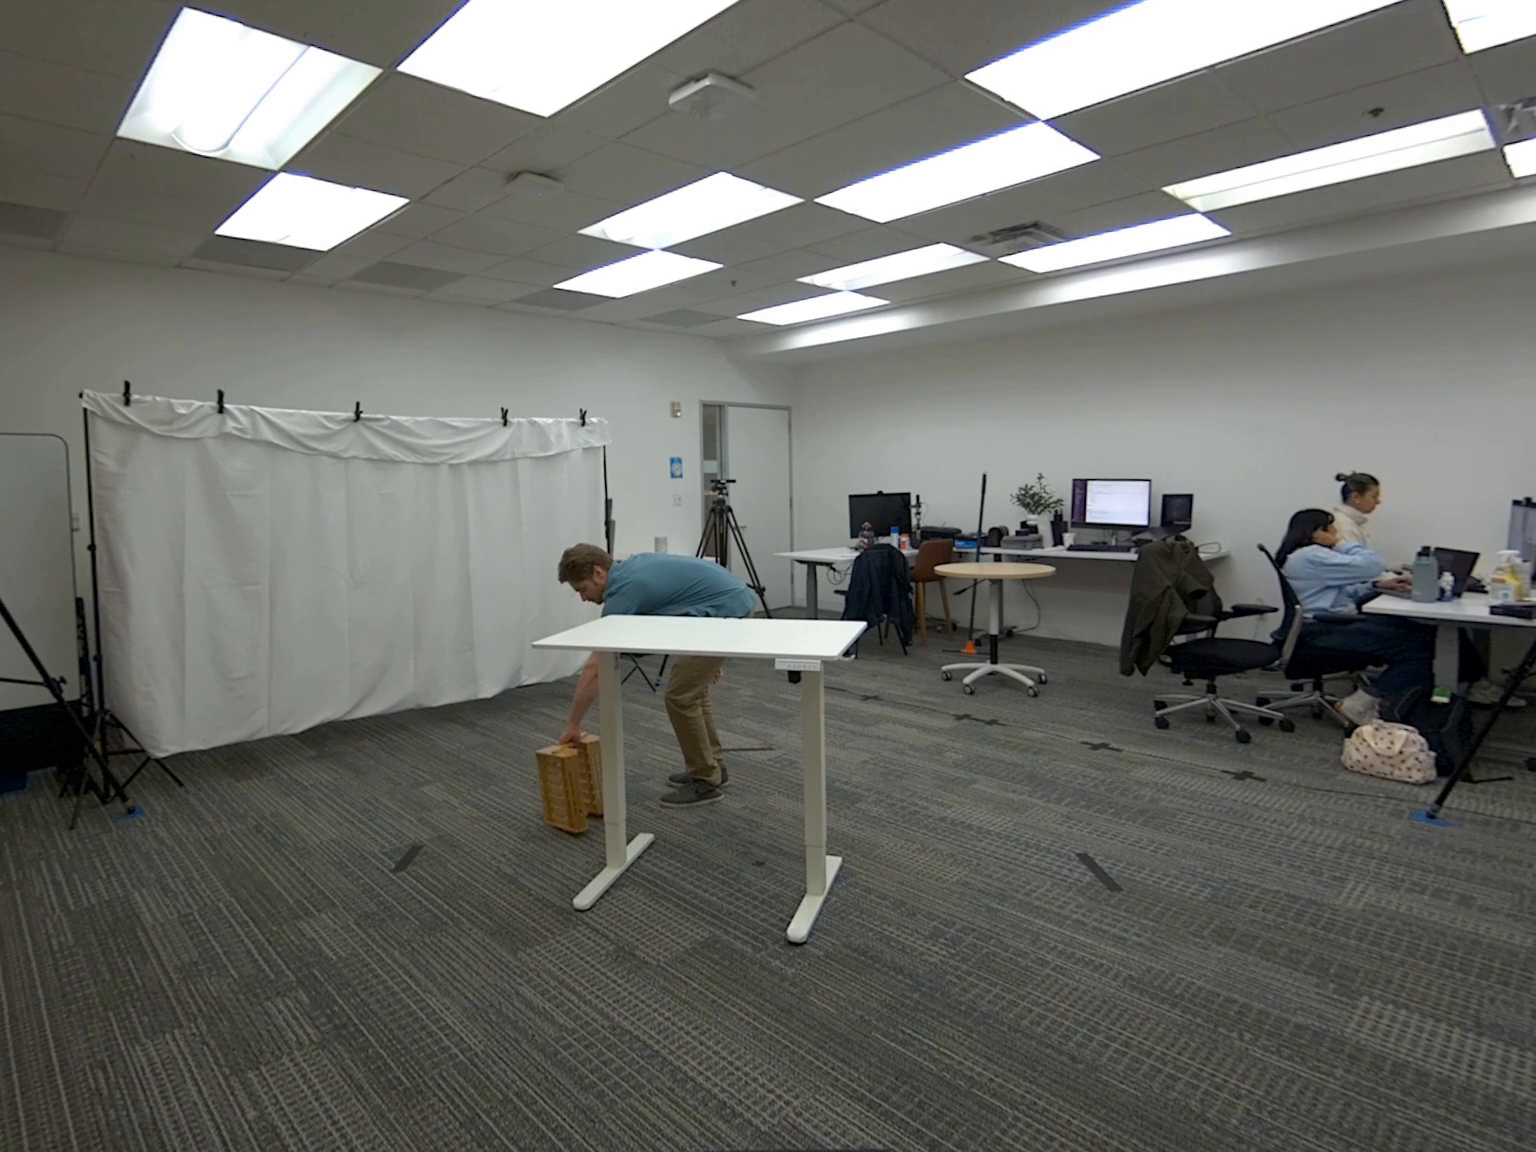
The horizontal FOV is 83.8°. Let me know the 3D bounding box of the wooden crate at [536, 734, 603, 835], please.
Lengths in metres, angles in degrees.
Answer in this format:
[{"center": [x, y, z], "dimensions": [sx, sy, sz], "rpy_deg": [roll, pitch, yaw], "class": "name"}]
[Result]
[{"center": [-0.780, 0.846, 3.541], "dimensions": [0.310, 0.324, 0.267], "rpy_deg": [-5, 4, 44], "class": "wooden crate"}]
